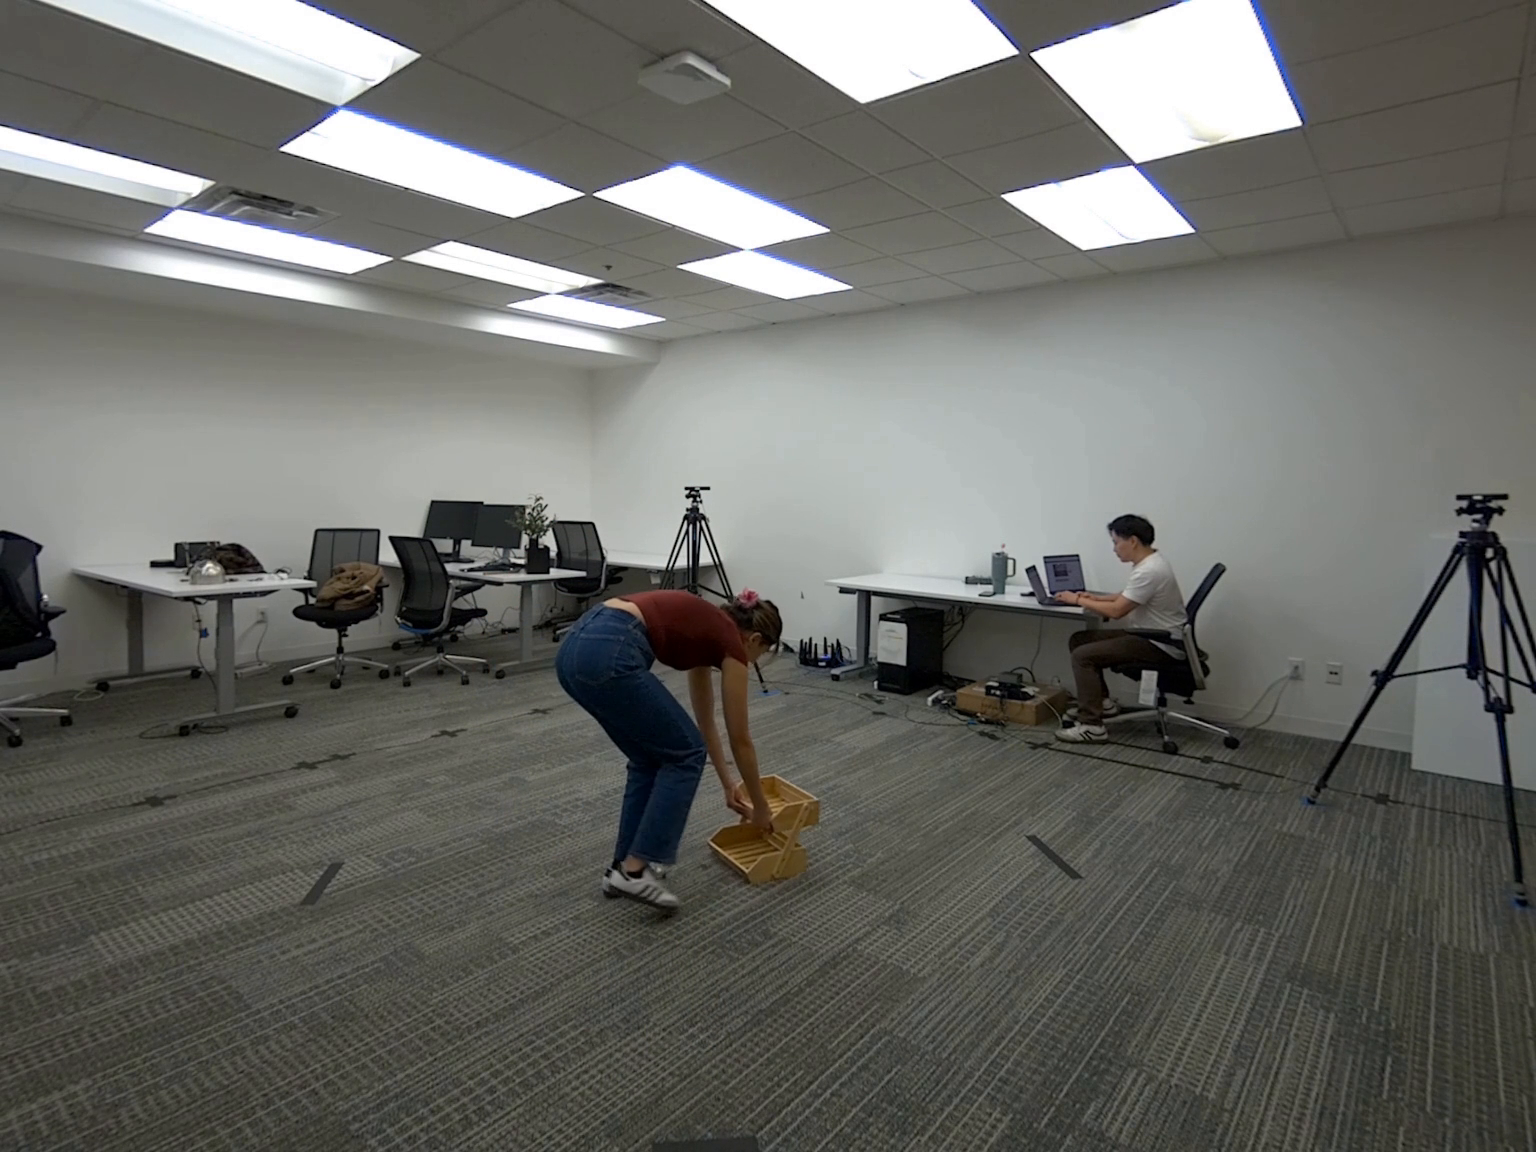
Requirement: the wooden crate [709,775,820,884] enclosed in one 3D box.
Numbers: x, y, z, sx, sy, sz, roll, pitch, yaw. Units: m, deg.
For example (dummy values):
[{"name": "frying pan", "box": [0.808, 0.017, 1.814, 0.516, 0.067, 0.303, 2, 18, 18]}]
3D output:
[{"name": "wooden crate", "box": [-0.033, 0.927, 3.173, 0.294, 0.272, 0.335, -1, 5, -32]}]
